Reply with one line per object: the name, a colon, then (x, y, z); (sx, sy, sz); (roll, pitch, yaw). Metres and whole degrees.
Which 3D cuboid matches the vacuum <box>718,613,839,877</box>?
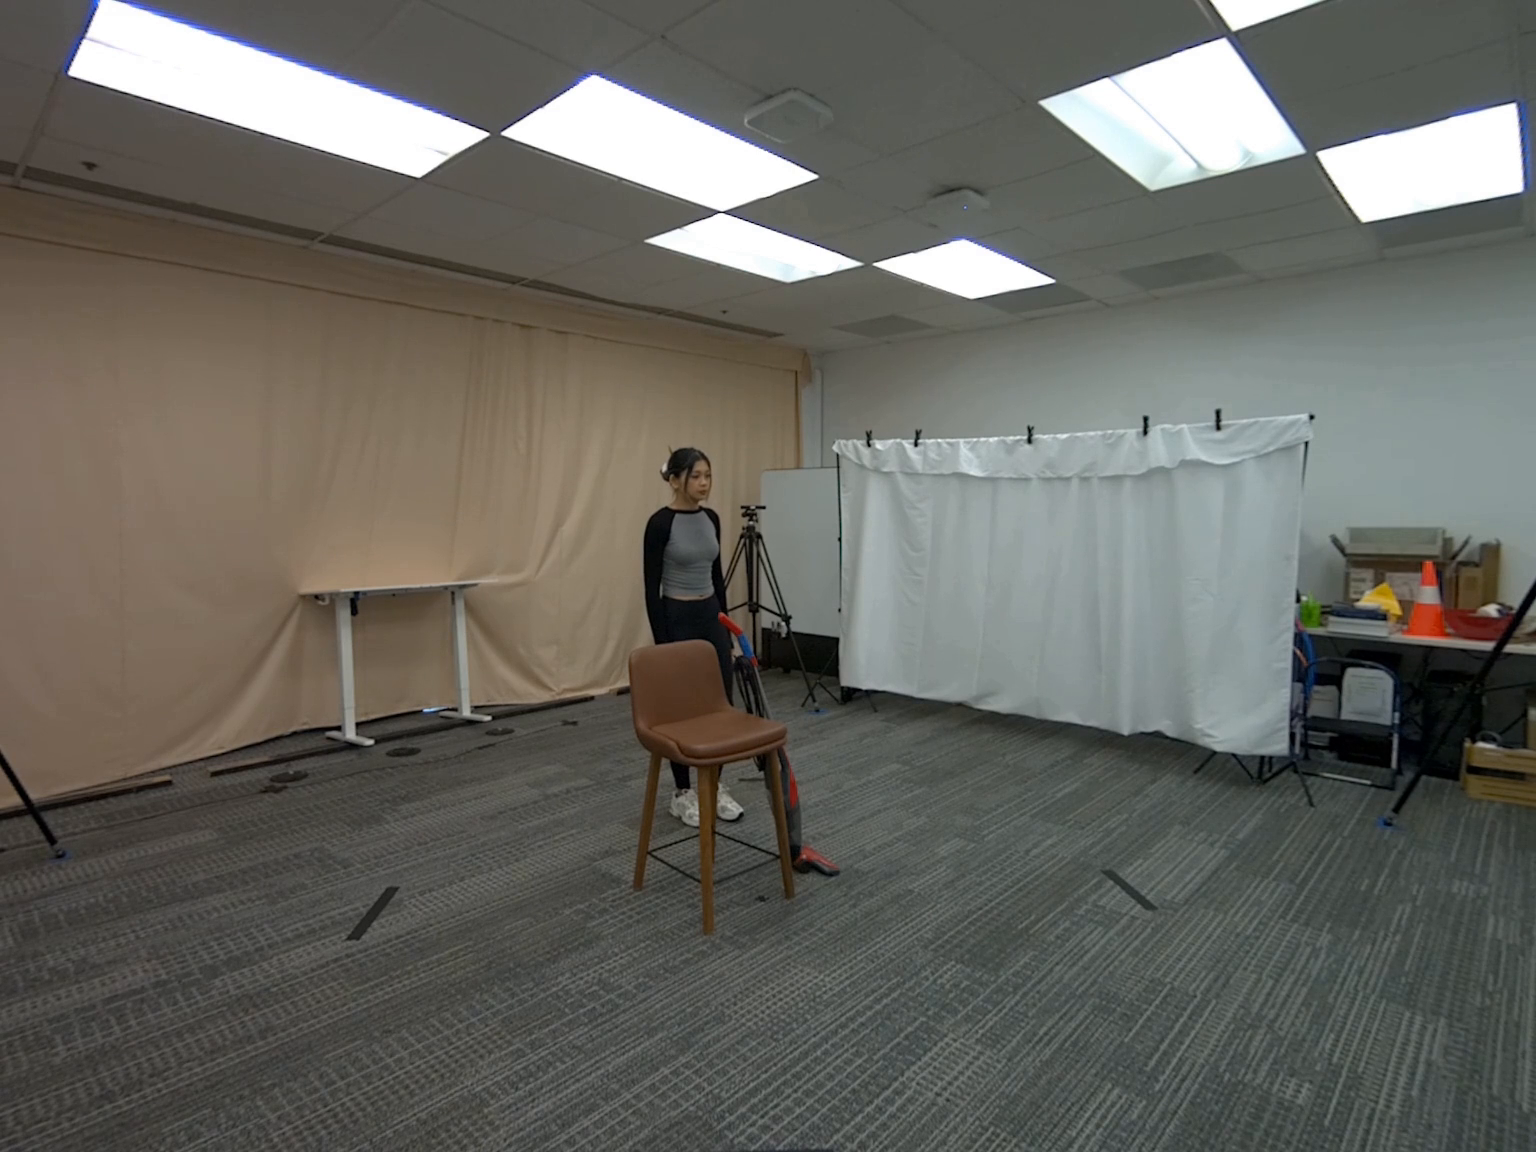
vacuum: (-0.003, 0.624, 3.170); (0.141, 1.039, 0.259); (-23, 11, -26)
